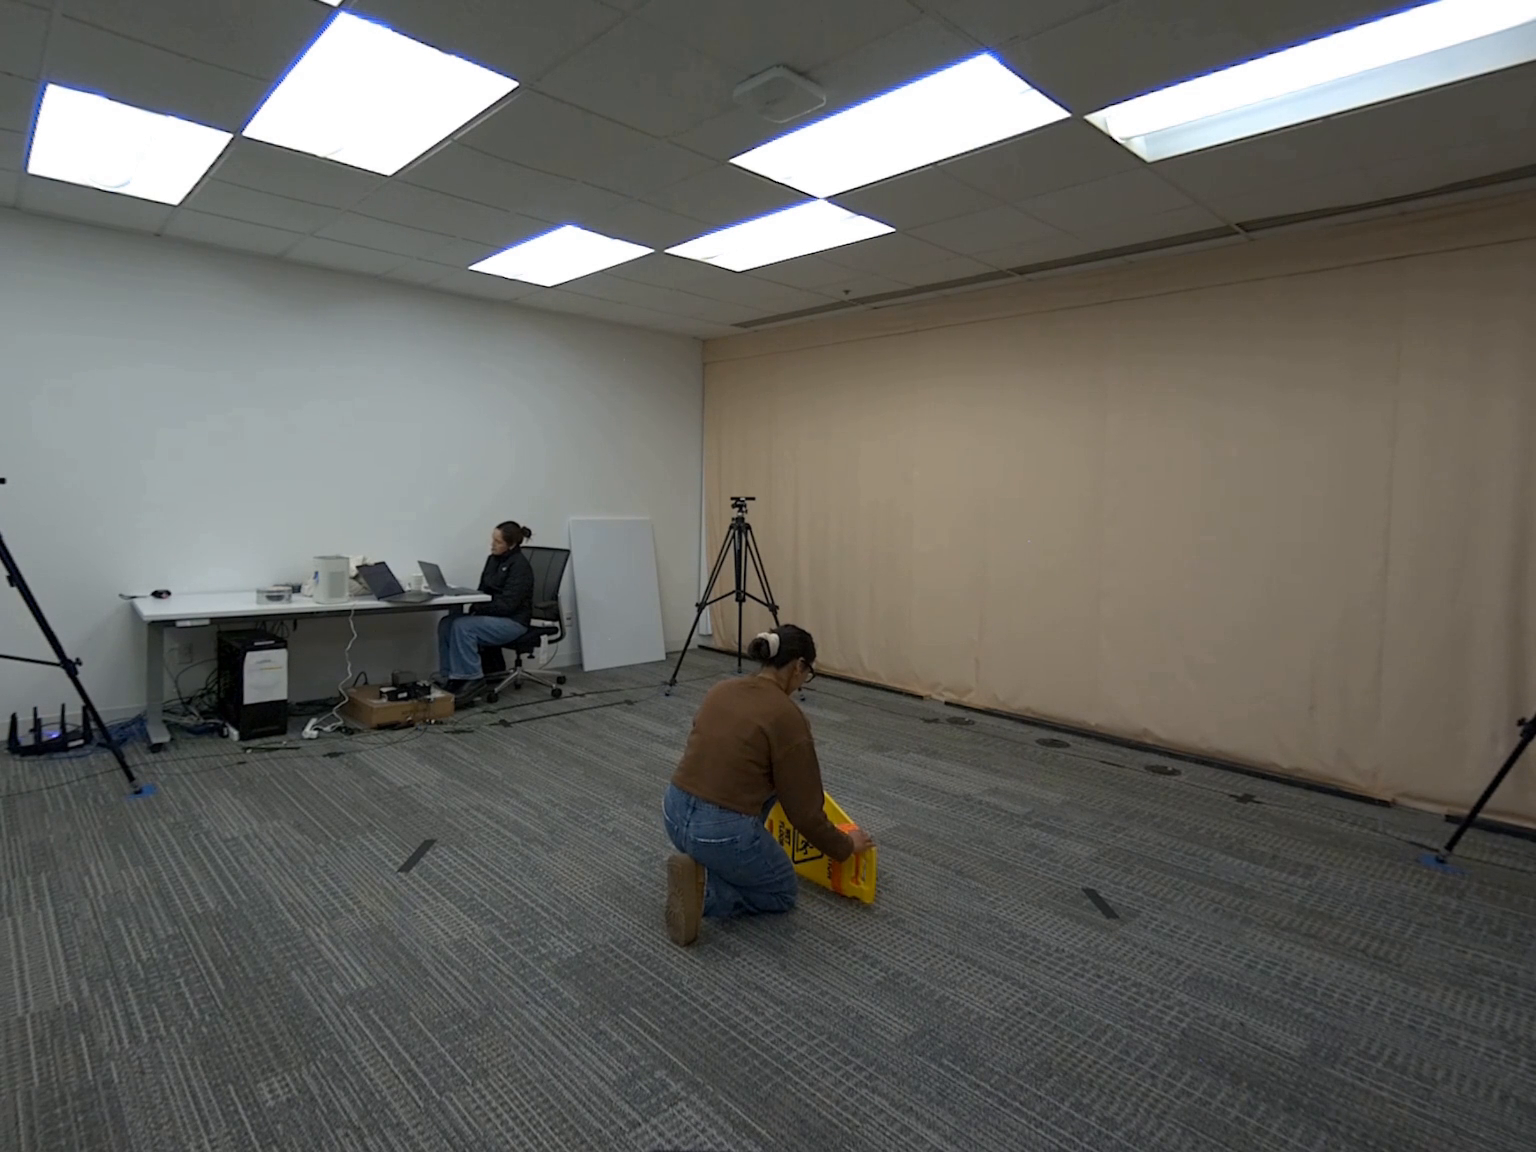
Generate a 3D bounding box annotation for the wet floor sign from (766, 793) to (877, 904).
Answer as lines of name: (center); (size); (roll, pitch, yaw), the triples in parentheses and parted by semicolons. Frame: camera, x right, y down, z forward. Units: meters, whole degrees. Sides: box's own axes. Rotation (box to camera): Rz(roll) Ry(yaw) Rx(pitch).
wet floor sign: (0.189, 0.981, 3.140); (0.284, 0.281, 0.662); (-2, 7, -30)
